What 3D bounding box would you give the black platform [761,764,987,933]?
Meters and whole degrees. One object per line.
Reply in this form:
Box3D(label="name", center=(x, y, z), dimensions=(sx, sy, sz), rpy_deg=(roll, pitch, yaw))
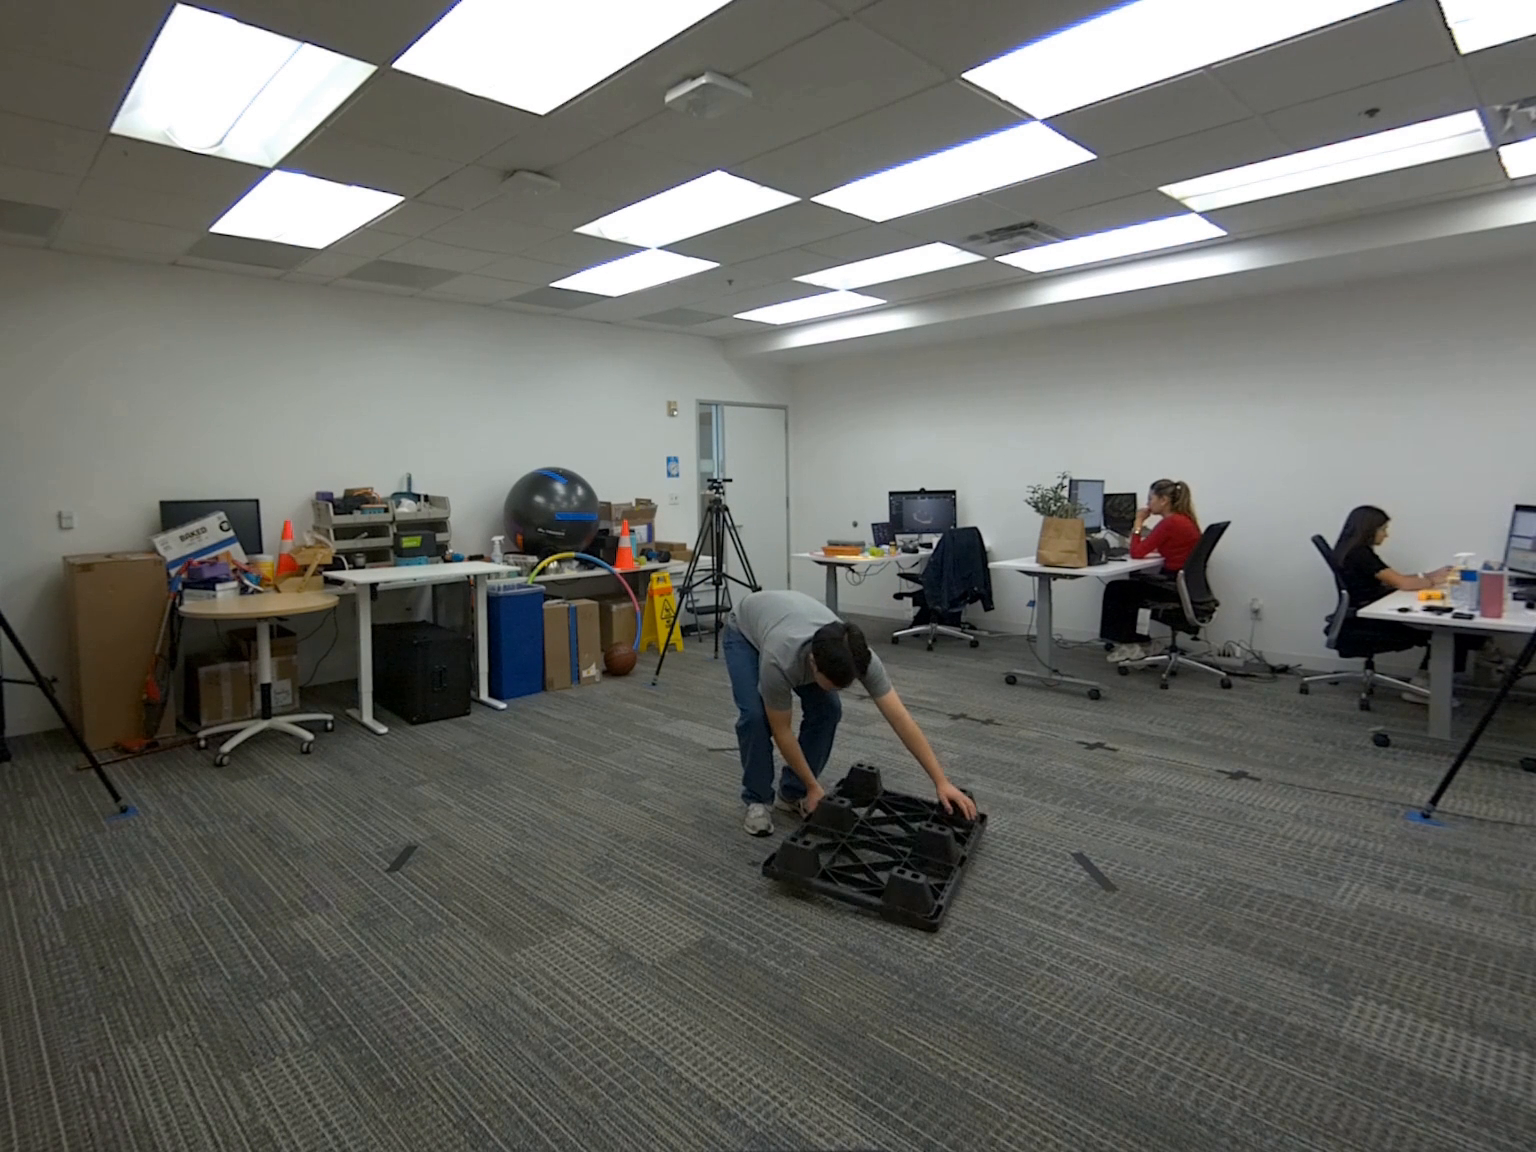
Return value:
Box3D(label="black platform", center=(0.419, 0.916, 3.066), dimensions=(0.620, 0.142, 0.793), rpy_deg=(7, 13, 25))
